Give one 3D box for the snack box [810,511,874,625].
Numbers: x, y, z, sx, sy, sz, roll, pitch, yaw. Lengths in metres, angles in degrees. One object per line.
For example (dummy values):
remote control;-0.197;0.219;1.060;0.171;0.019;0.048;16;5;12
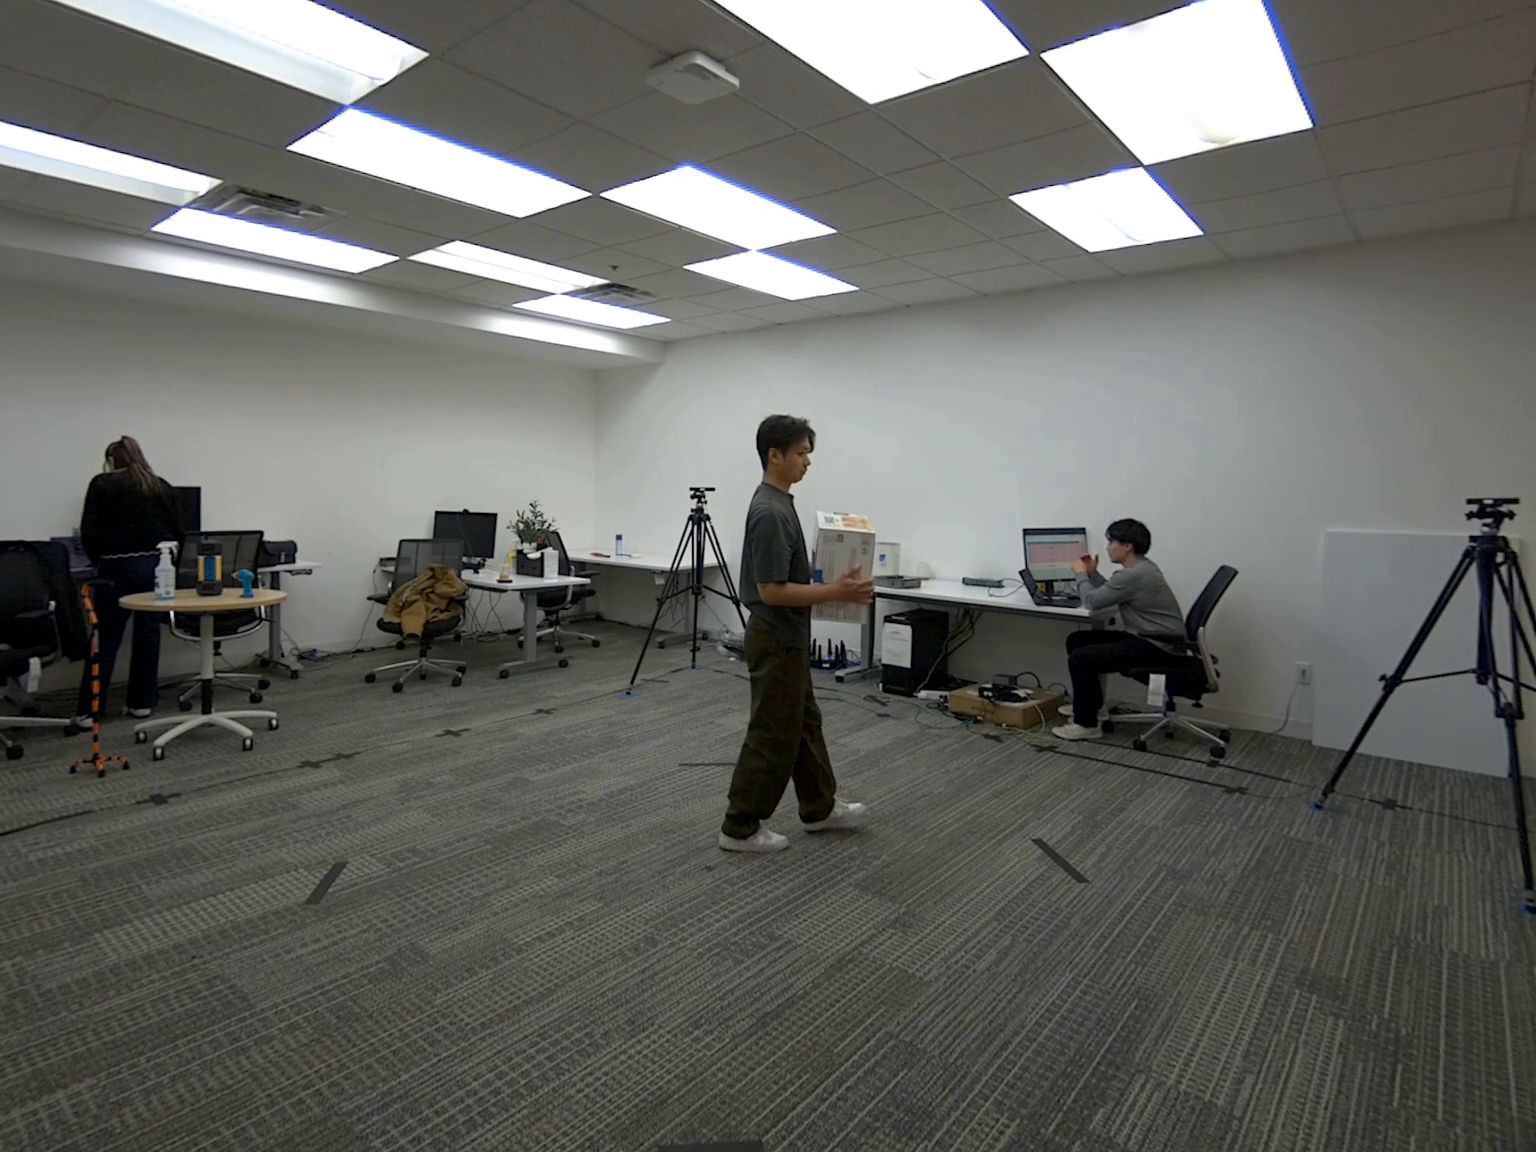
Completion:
snack box;0.268;-0.045;3.224;0.206;0.337;0.407;5;12;2
